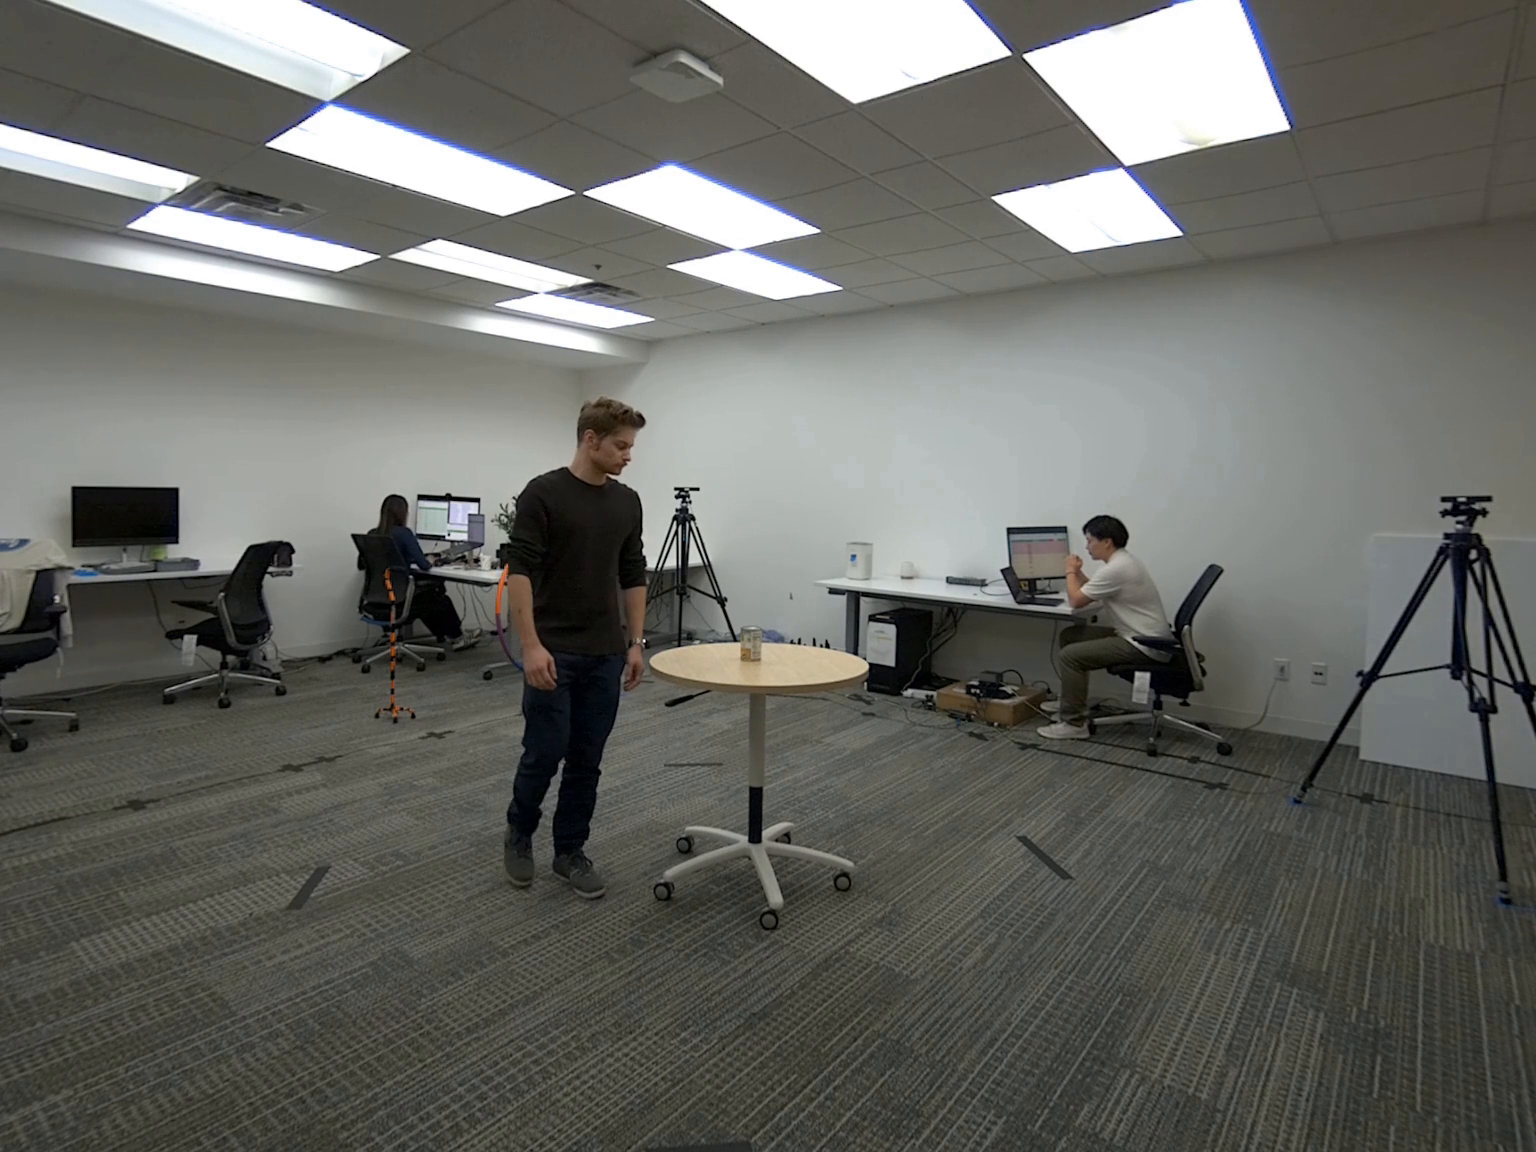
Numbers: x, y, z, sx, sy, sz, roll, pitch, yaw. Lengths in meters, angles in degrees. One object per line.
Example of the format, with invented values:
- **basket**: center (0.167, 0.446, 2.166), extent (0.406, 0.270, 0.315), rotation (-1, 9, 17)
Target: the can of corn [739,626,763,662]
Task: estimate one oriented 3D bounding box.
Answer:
- **can of corn**: center (-0.068, 0.240, 3.009), extent (0.074, 0.110, 0.074), rotation (0, 5, -2)
